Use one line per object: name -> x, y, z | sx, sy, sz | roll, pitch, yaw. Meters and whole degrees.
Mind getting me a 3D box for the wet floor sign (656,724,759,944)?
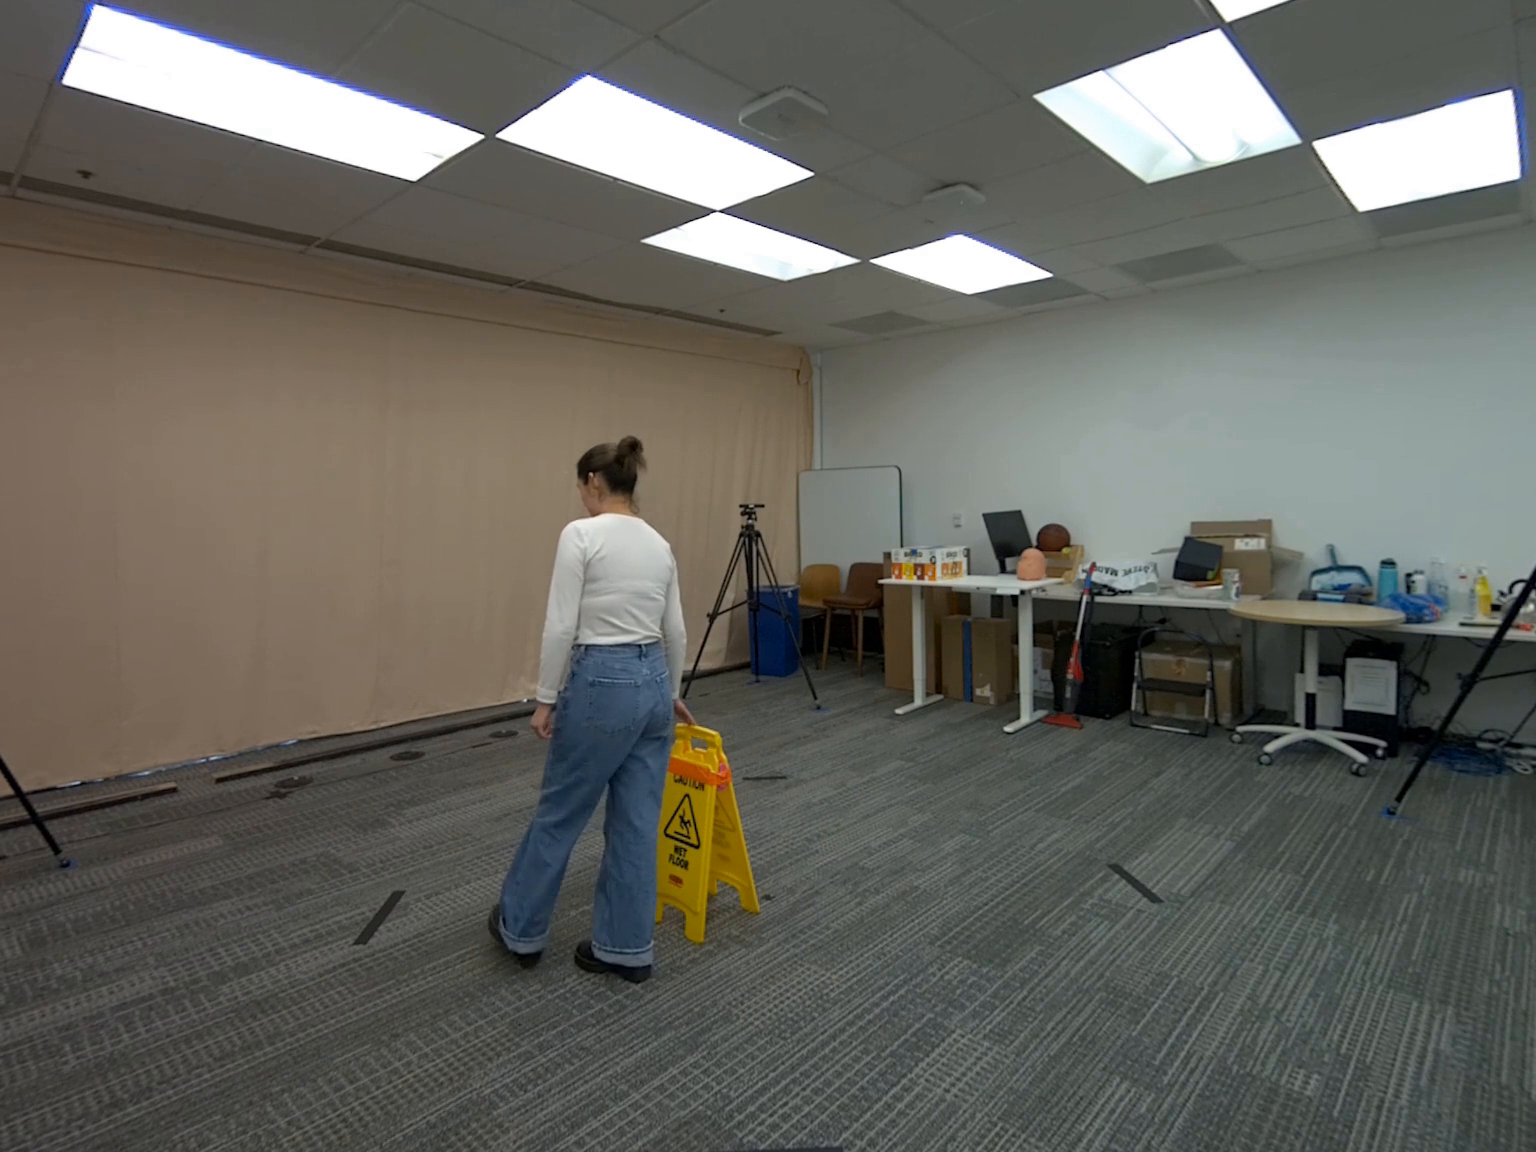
wet floor sign -> -0.229, 0.831, 2.848 | 0.291, 0.645, 0.281 | 1, 4, 43
